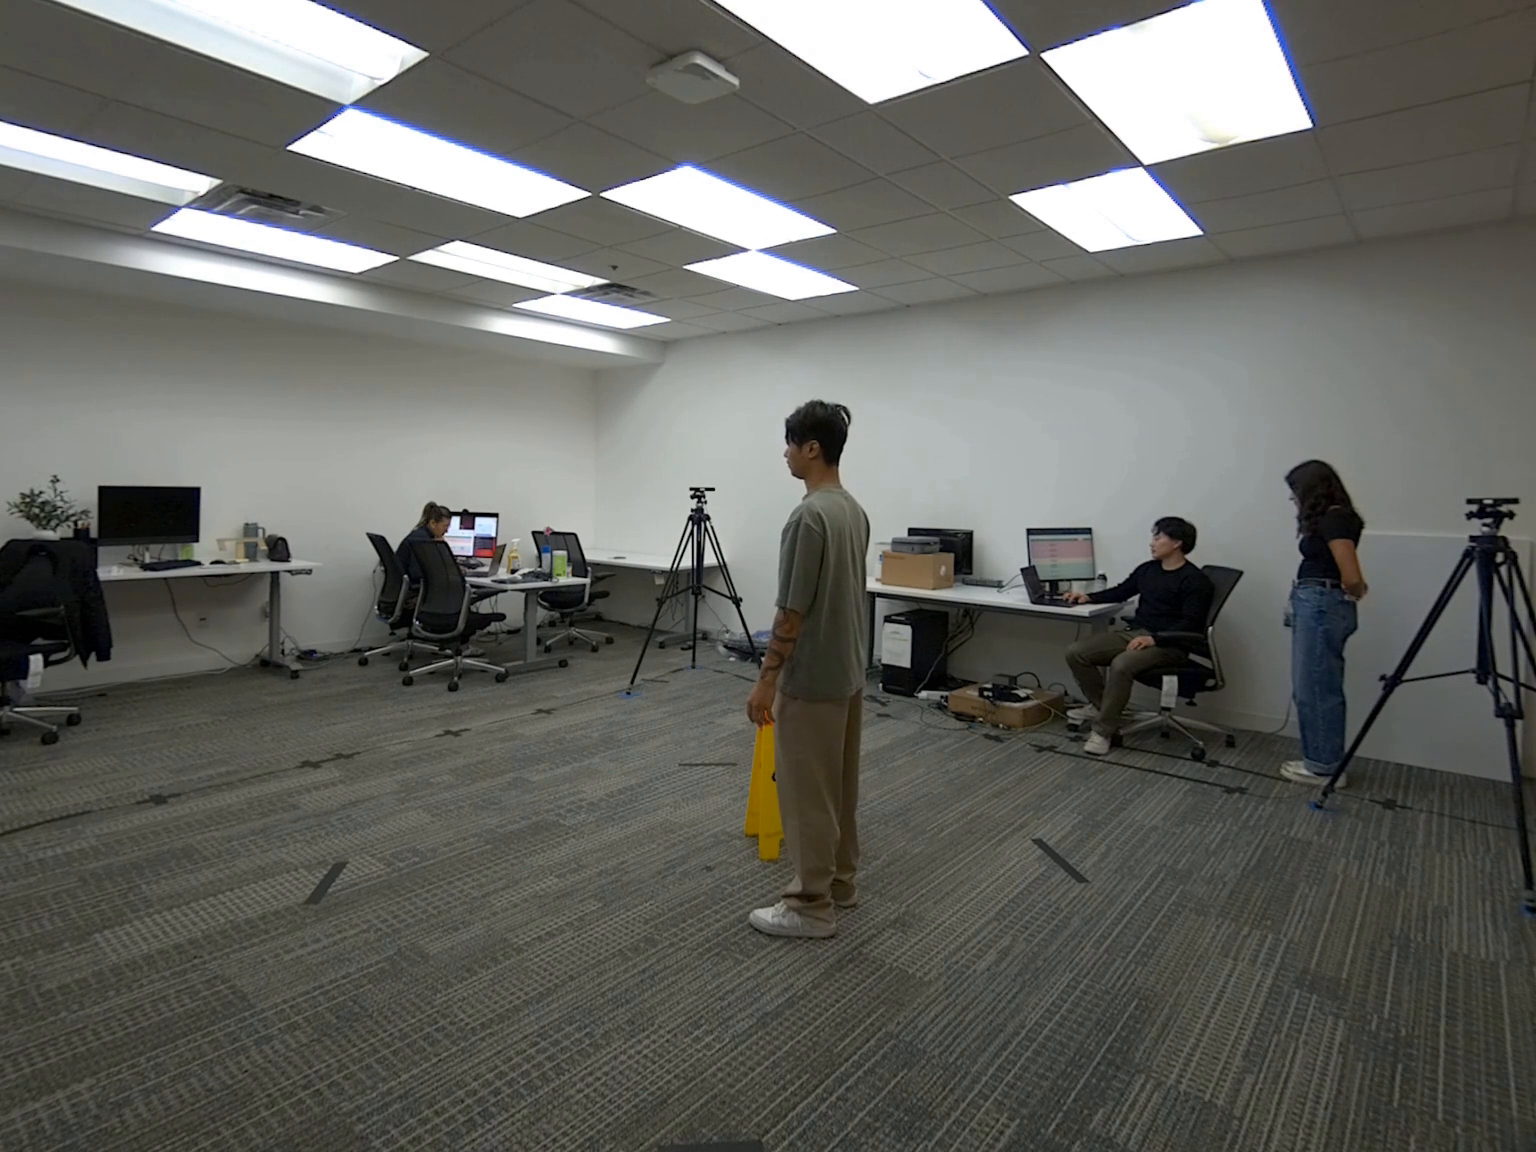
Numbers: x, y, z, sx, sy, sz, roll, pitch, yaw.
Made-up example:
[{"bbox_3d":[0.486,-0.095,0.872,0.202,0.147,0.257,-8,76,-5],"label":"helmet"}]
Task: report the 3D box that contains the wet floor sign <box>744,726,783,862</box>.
[{"bbox_3d":[0.079,0.725,3.318,0.278,0.646,0.294,2,1,-13],"label":"wet floor sign"}]
